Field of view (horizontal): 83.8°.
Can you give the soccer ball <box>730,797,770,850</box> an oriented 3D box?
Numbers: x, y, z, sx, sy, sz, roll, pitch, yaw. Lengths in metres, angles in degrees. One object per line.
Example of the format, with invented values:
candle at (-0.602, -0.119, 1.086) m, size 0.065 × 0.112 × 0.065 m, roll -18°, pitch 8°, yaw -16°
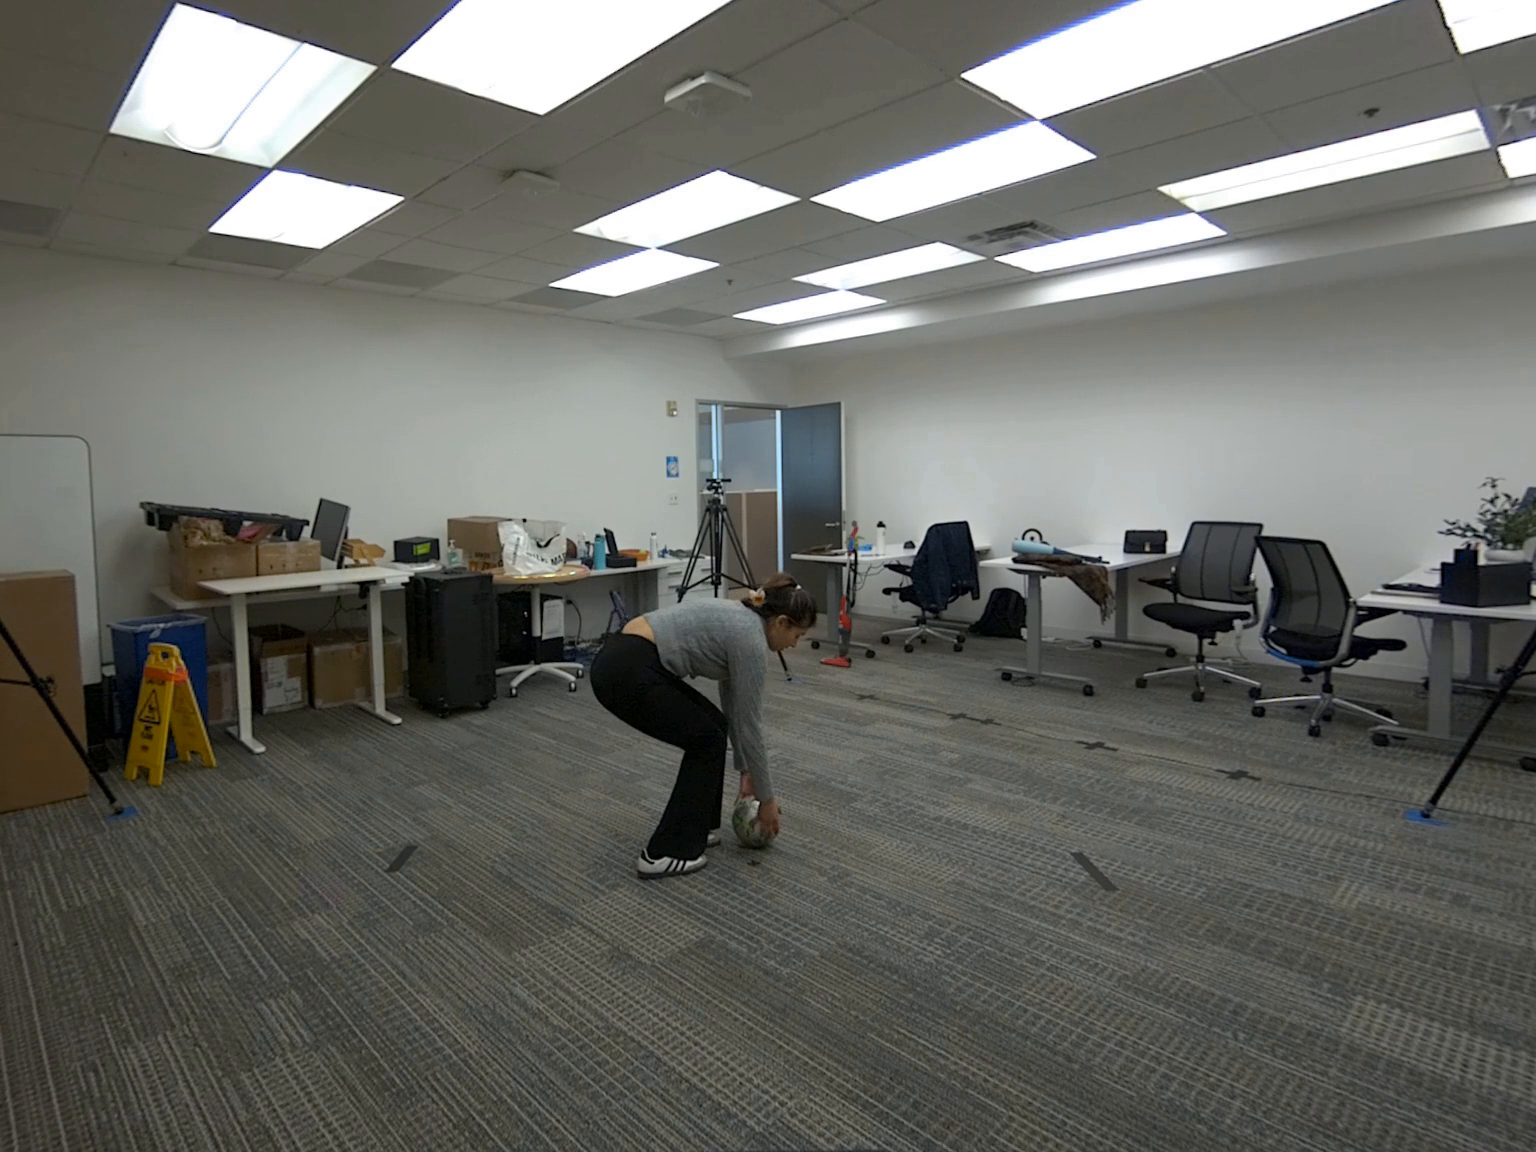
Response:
soccer ball at (-0.049, 0.926, 3.254) m, size 0.187 × 0.187 × 0.188 m, roll -1°, pitch 5°, yaw -2°
